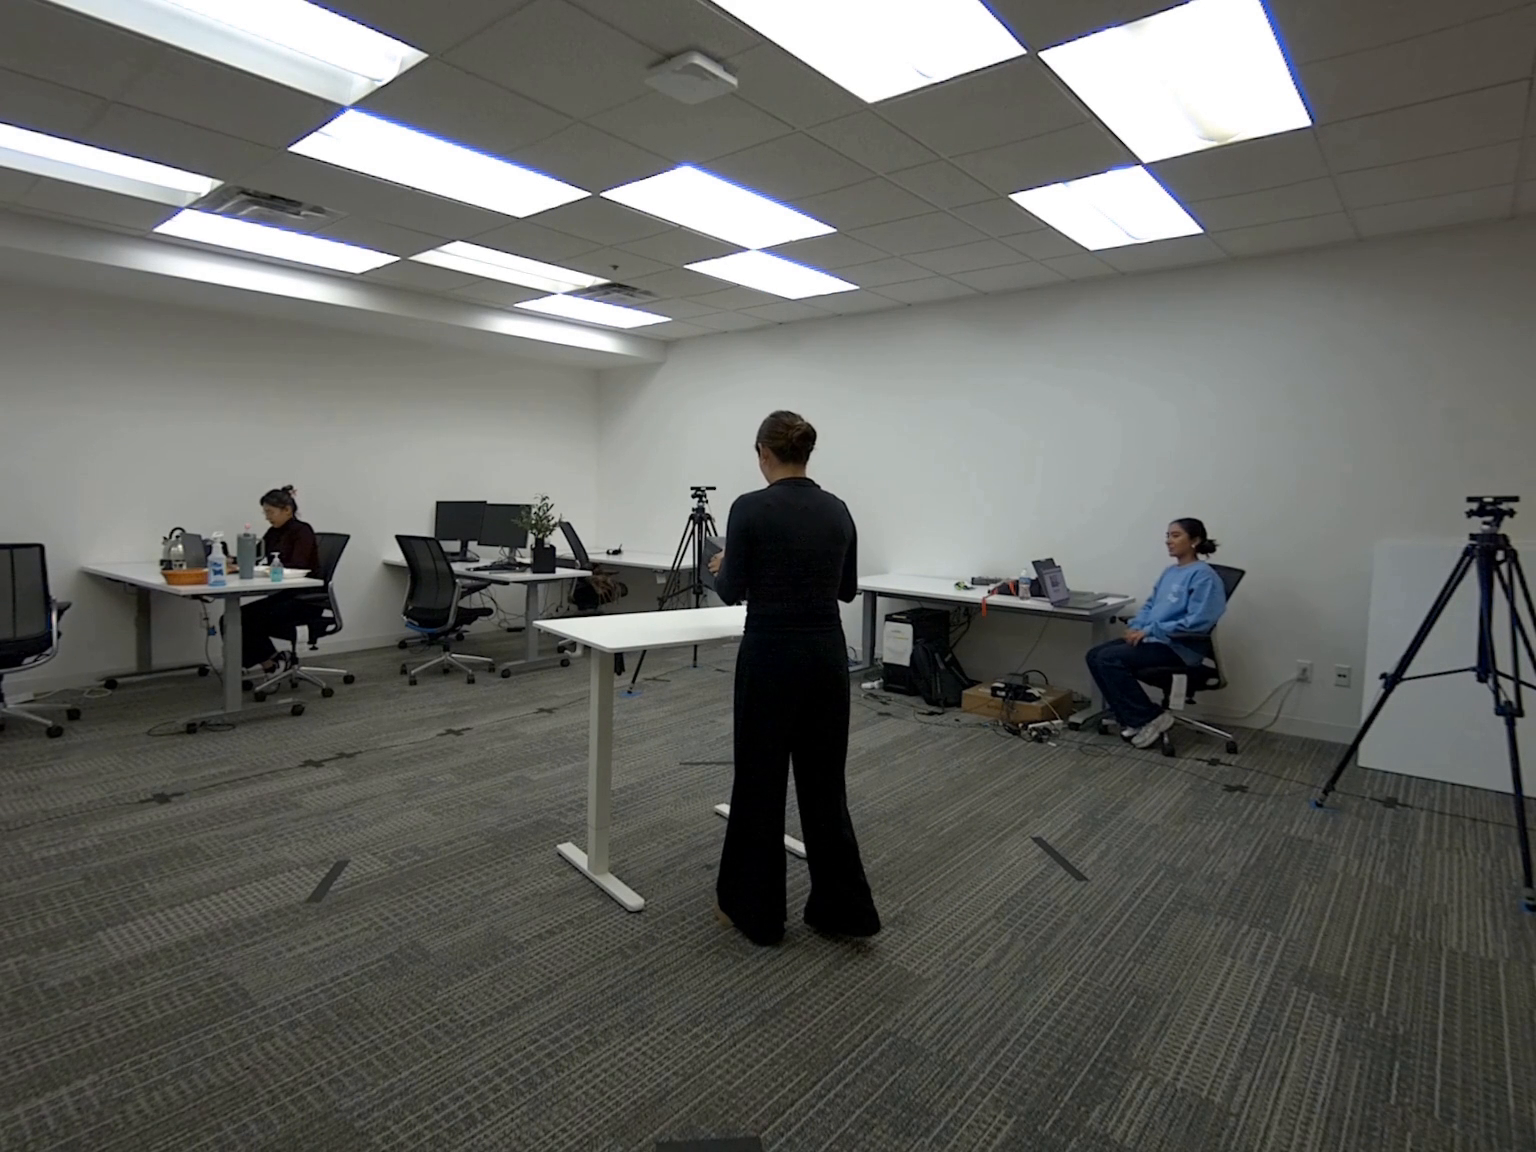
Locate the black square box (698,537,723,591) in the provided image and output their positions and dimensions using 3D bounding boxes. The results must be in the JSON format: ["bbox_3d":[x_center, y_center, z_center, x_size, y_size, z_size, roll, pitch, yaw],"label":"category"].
[{"bbox_3d":[-0.089,-0.030,2.944,0.222,0.154,0.225,0,19,-29],"label":"black square box"}]
